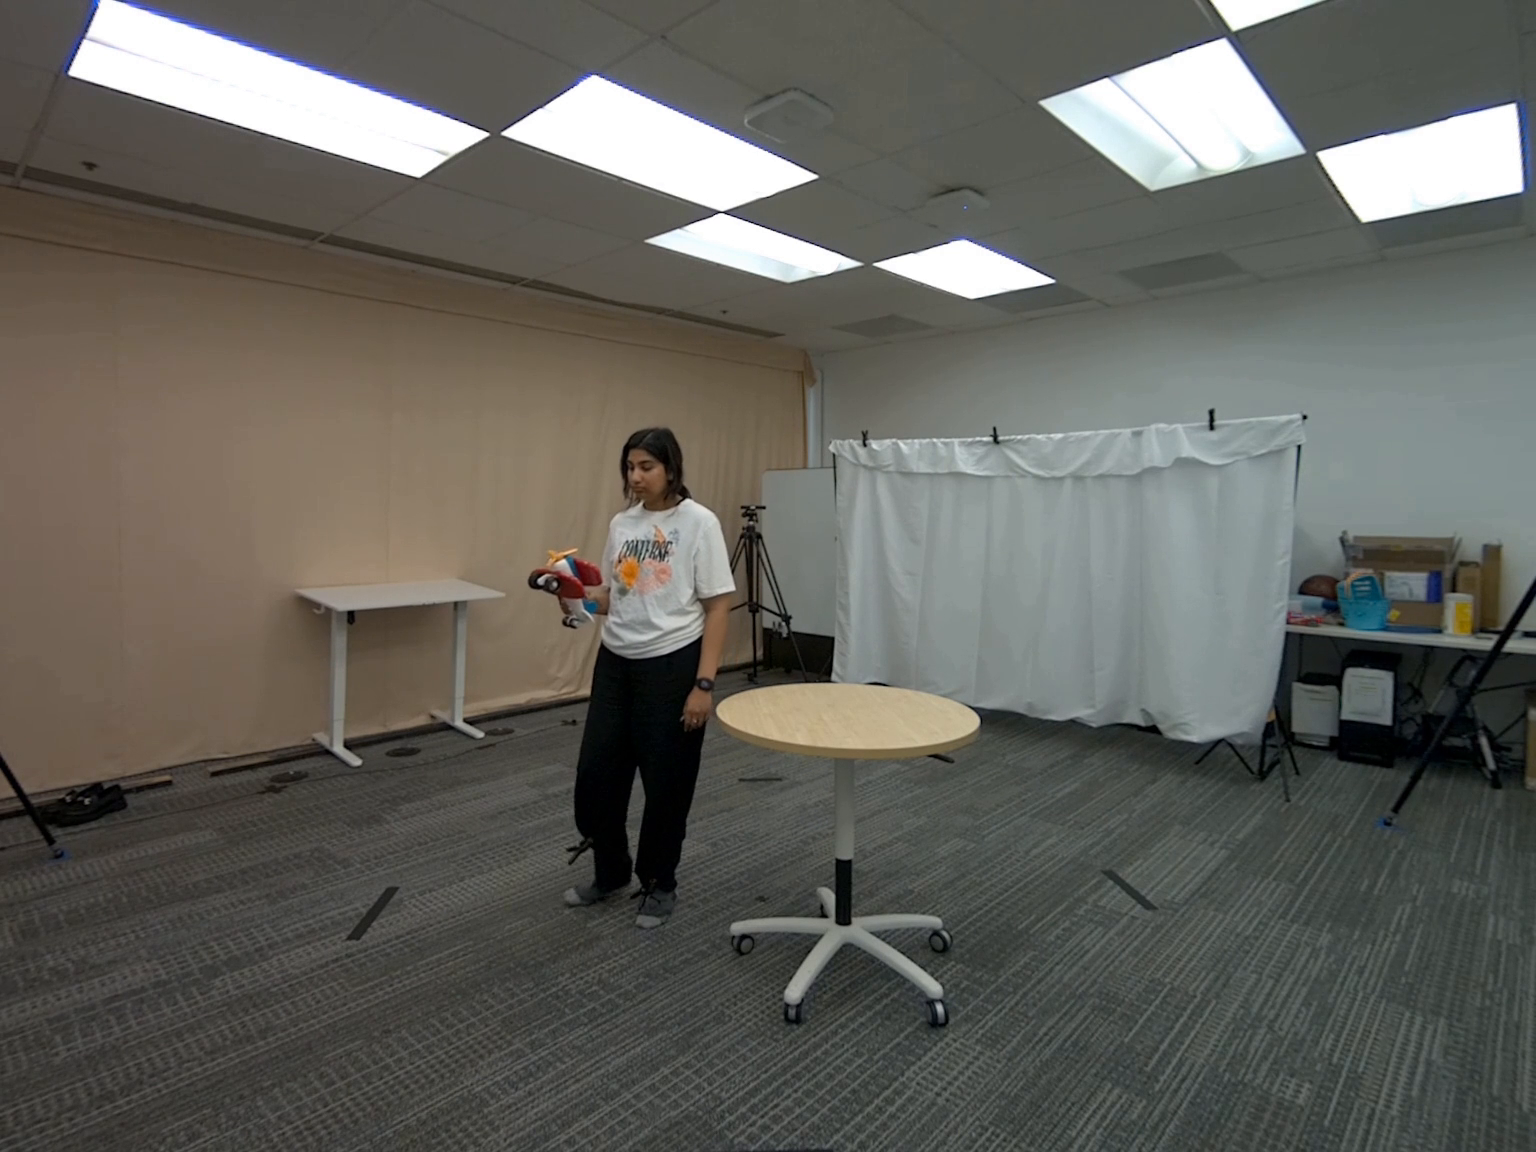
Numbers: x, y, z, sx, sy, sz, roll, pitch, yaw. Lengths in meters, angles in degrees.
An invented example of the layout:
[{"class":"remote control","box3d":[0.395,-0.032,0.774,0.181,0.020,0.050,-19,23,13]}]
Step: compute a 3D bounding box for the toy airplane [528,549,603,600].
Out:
[{"class":"toy airplane","box3d":[-0.661,0.043,2.730,0.257,0.156,0.254,25,-30,18]}]
